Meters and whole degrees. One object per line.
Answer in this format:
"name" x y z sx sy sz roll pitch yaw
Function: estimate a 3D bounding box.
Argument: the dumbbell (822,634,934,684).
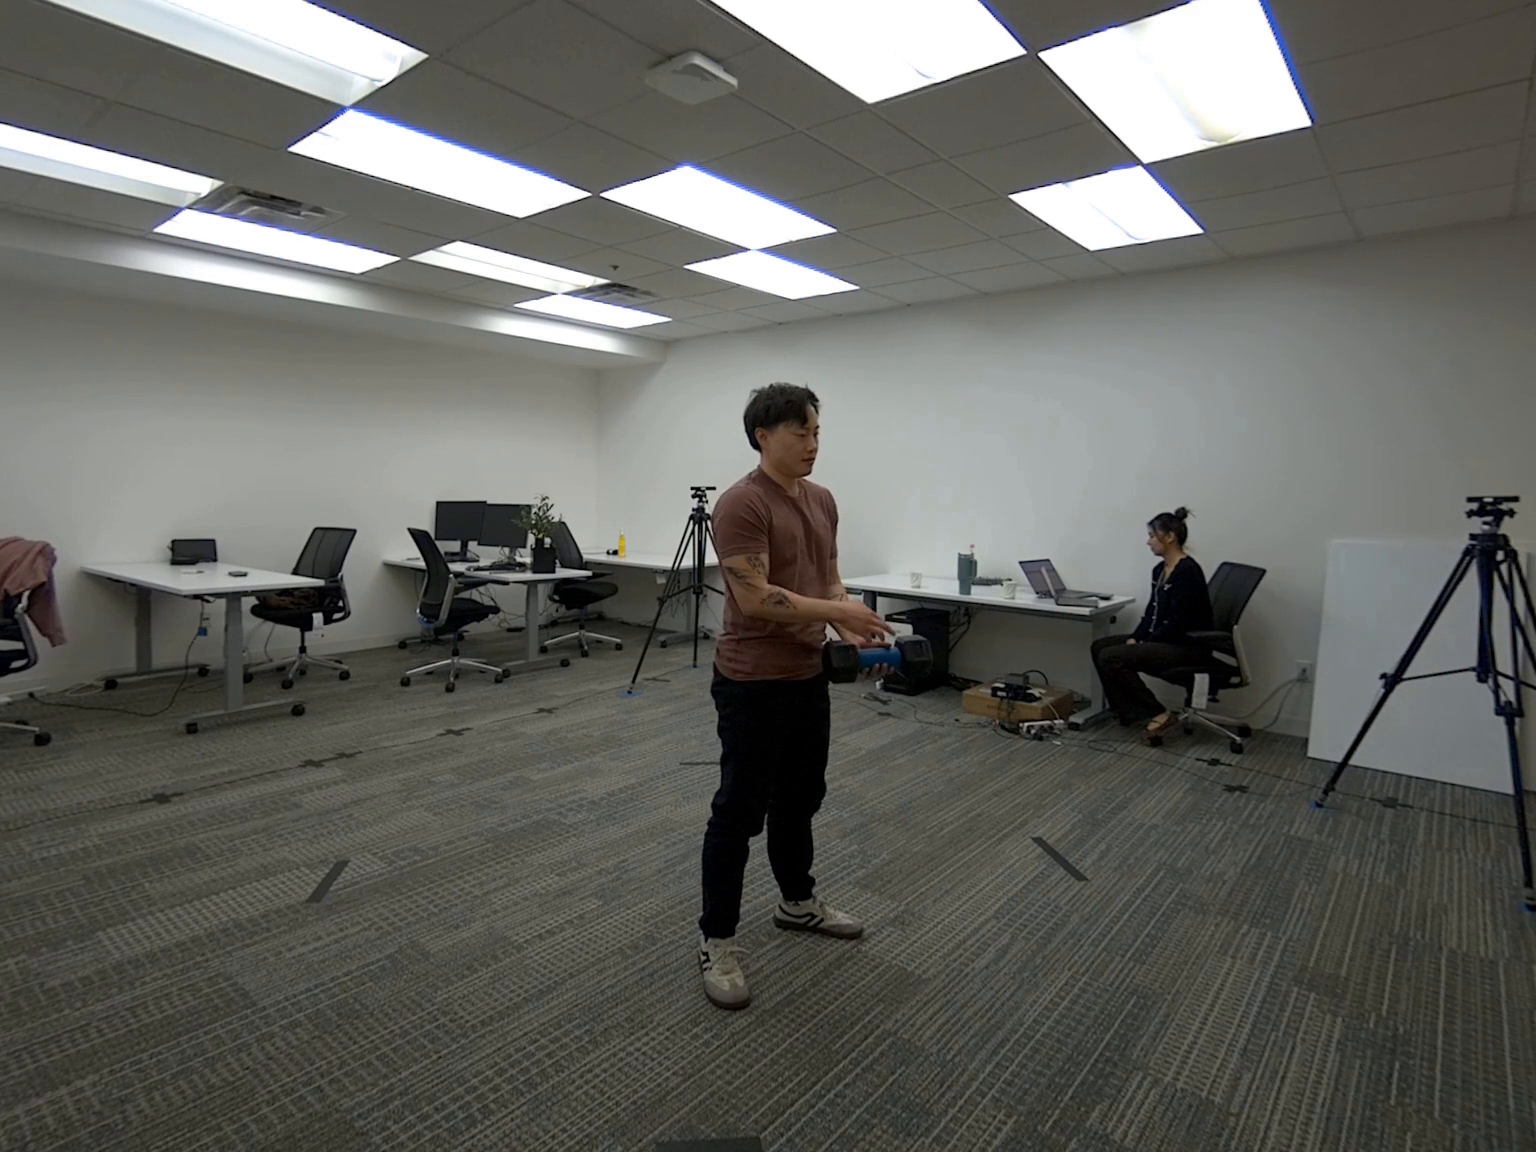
"dumbbell" 0.294 0.233 2.351 0.290 0.126 0.107 -1 -23 -12
